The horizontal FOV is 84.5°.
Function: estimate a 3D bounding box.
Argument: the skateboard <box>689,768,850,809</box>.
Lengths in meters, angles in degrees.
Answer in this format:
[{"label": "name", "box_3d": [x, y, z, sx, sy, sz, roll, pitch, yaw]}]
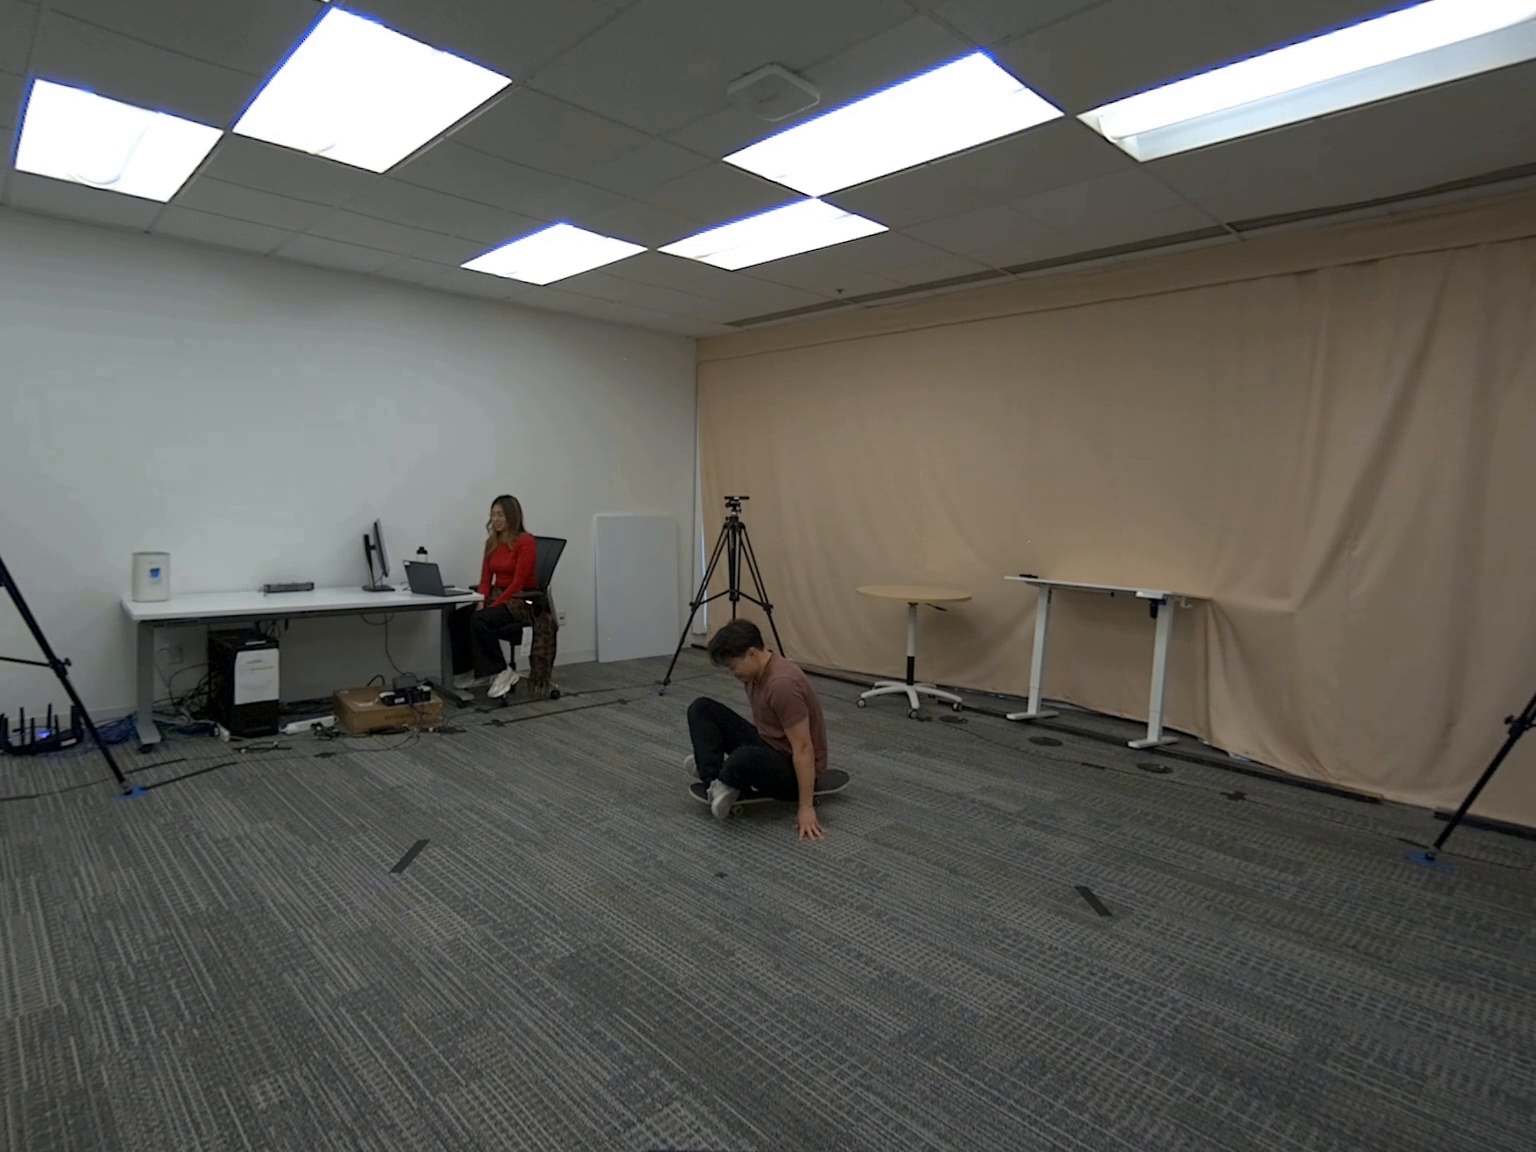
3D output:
[{"label": "skateboard", "box_3d": [0.013, 0.987, 3.828, 0.771, 0.109, 0.199, -1, 15, -27]}]
